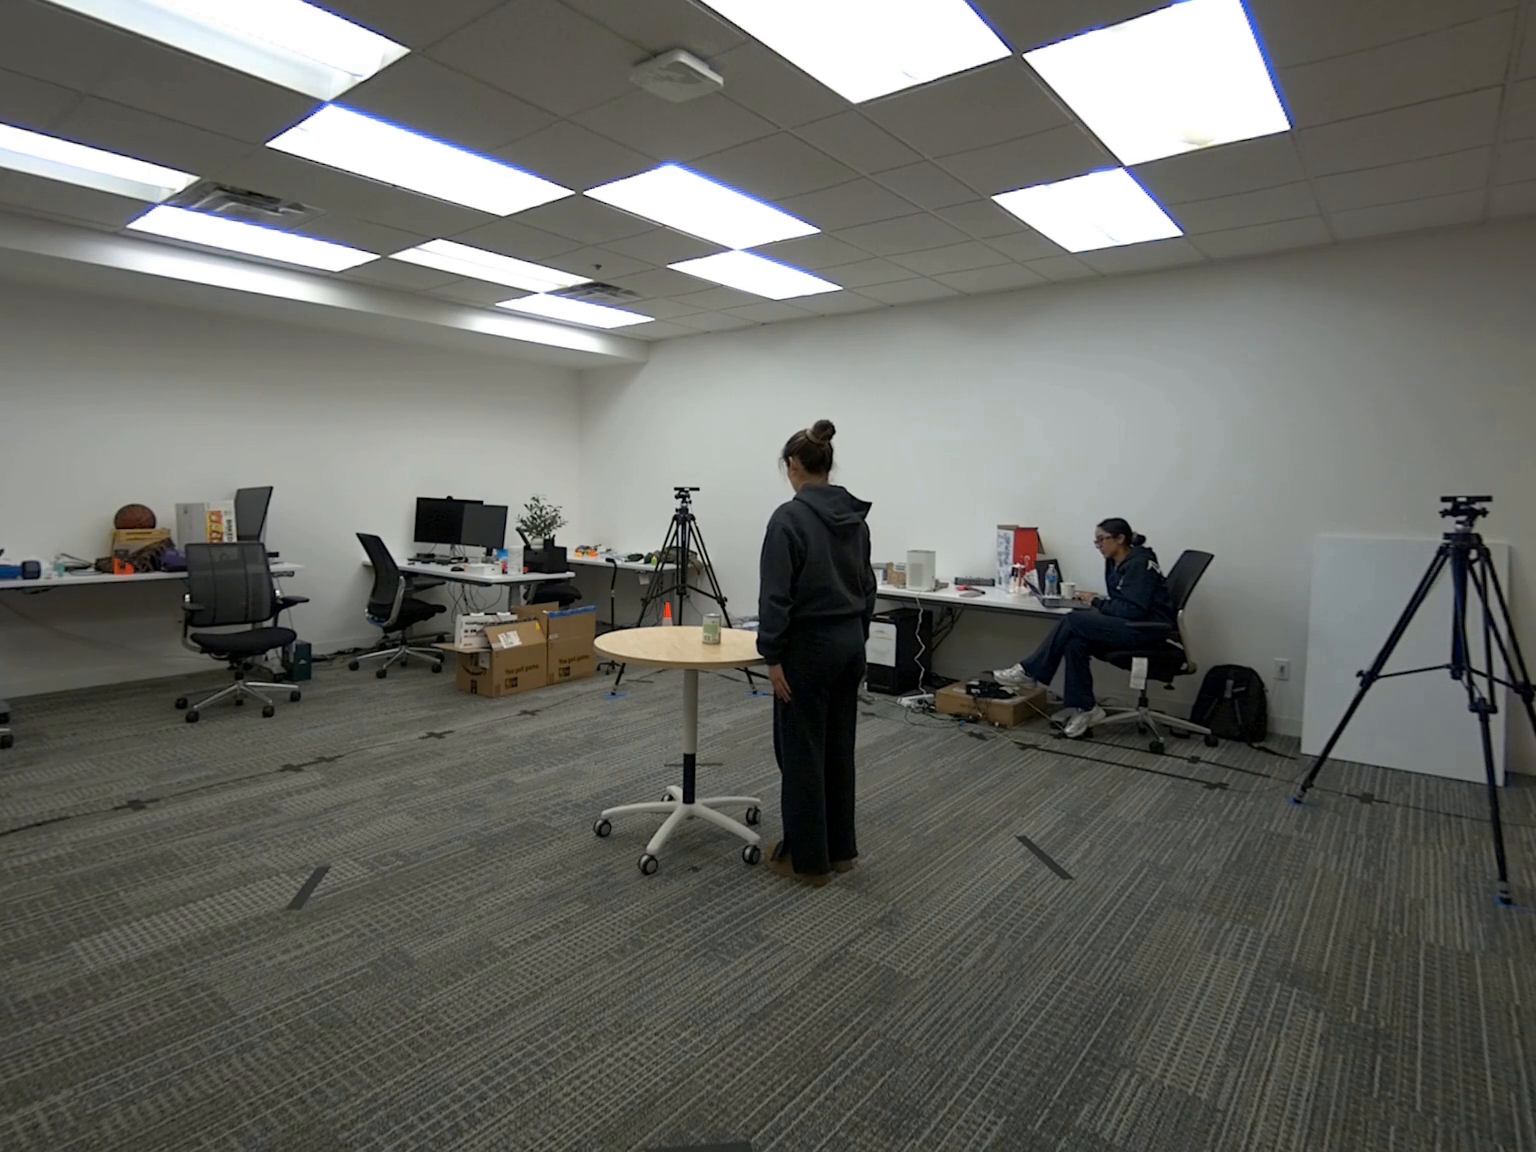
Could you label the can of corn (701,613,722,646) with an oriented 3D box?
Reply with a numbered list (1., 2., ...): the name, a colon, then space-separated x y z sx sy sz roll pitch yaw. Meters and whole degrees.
1. can of corn: -0.227 0.208 3.341 0.074 0.110 0.074 0 5 -2
